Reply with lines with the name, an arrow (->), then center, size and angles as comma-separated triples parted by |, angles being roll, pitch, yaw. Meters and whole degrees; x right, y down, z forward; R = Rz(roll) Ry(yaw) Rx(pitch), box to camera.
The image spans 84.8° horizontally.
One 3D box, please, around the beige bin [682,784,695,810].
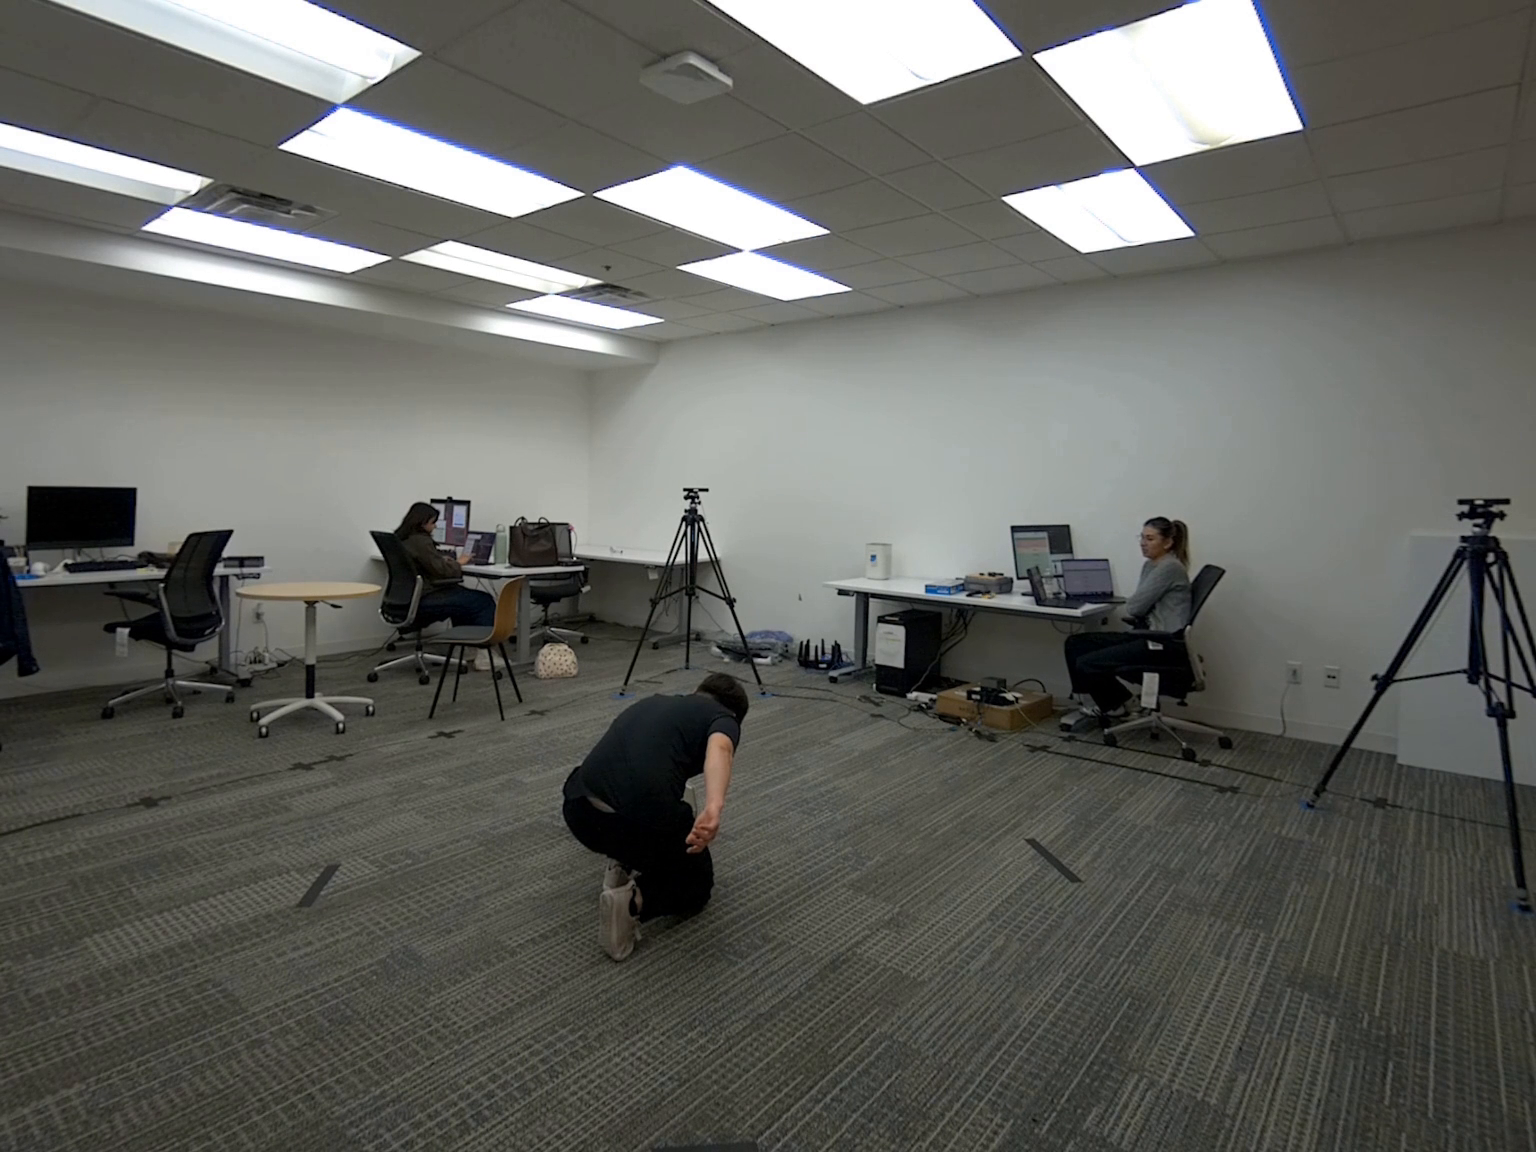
beige bin -> -0.568, 0.932, 3.479 | 0.410, 0.188, 0.390 | -4, 6, -37
